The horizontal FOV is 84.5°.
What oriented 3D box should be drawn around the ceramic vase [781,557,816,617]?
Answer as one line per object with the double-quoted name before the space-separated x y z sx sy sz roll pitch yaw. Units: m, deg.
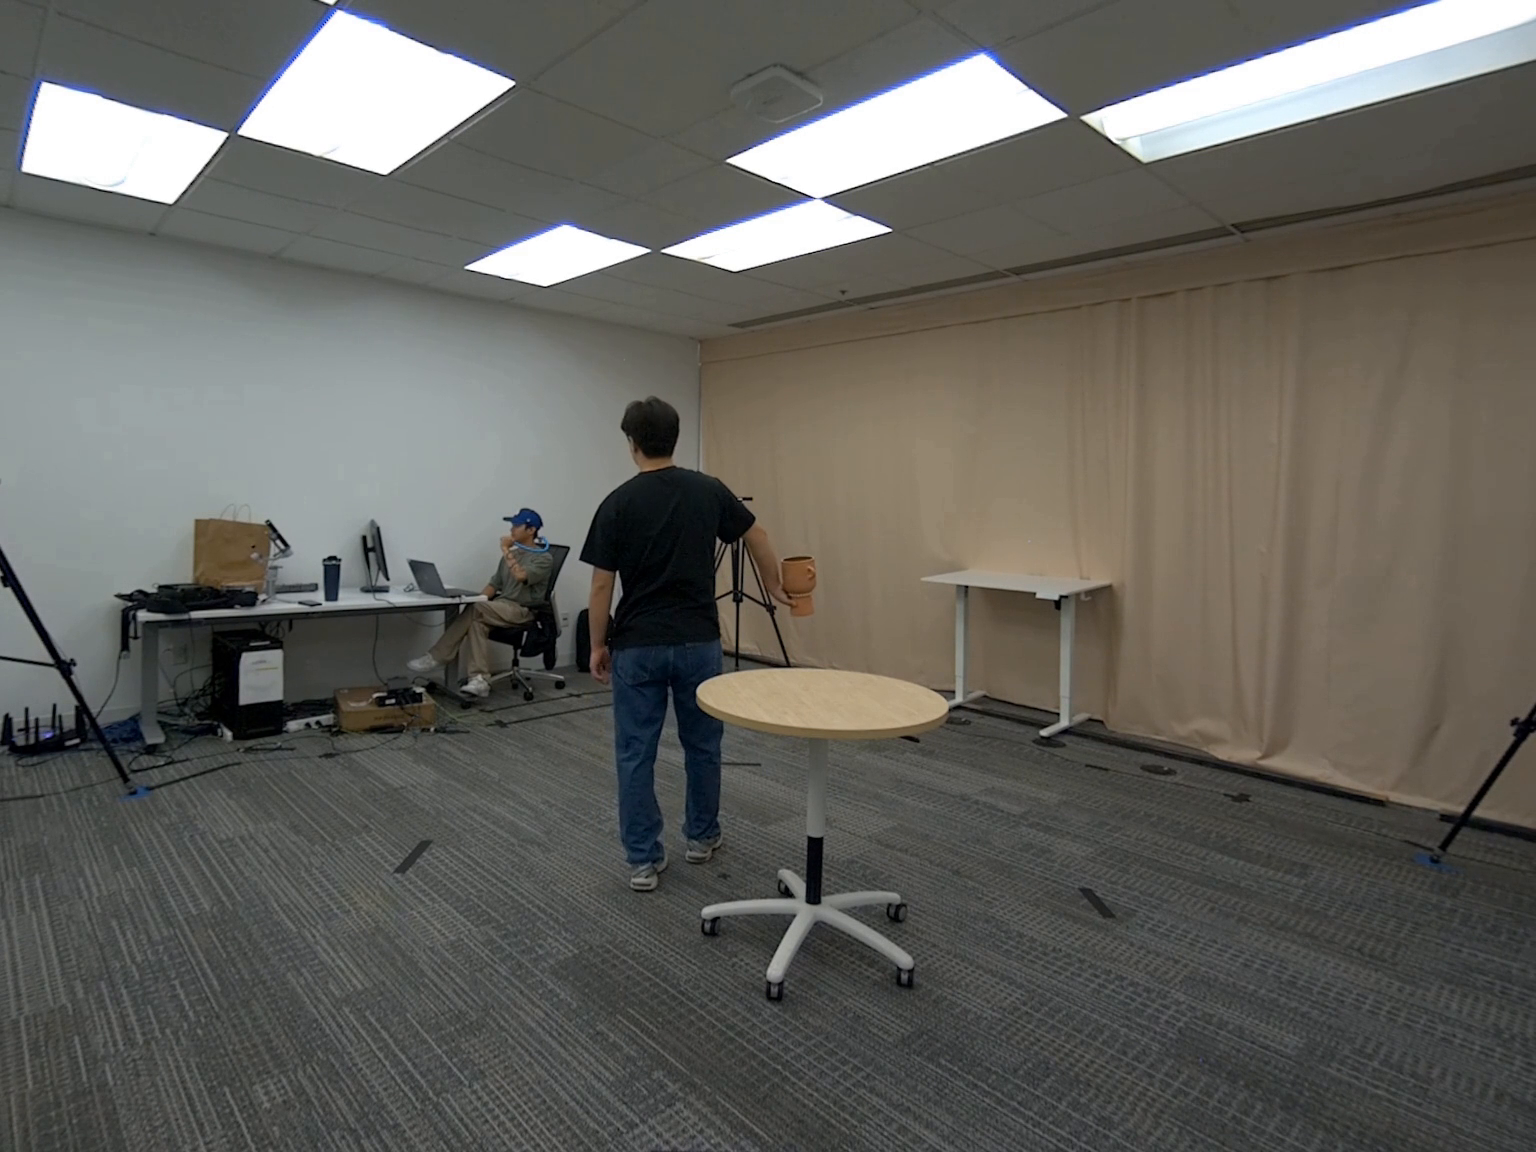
"ceramic vase" 0.112 0.041 3.328 0.135 0.218 0.159 -5 9 4
